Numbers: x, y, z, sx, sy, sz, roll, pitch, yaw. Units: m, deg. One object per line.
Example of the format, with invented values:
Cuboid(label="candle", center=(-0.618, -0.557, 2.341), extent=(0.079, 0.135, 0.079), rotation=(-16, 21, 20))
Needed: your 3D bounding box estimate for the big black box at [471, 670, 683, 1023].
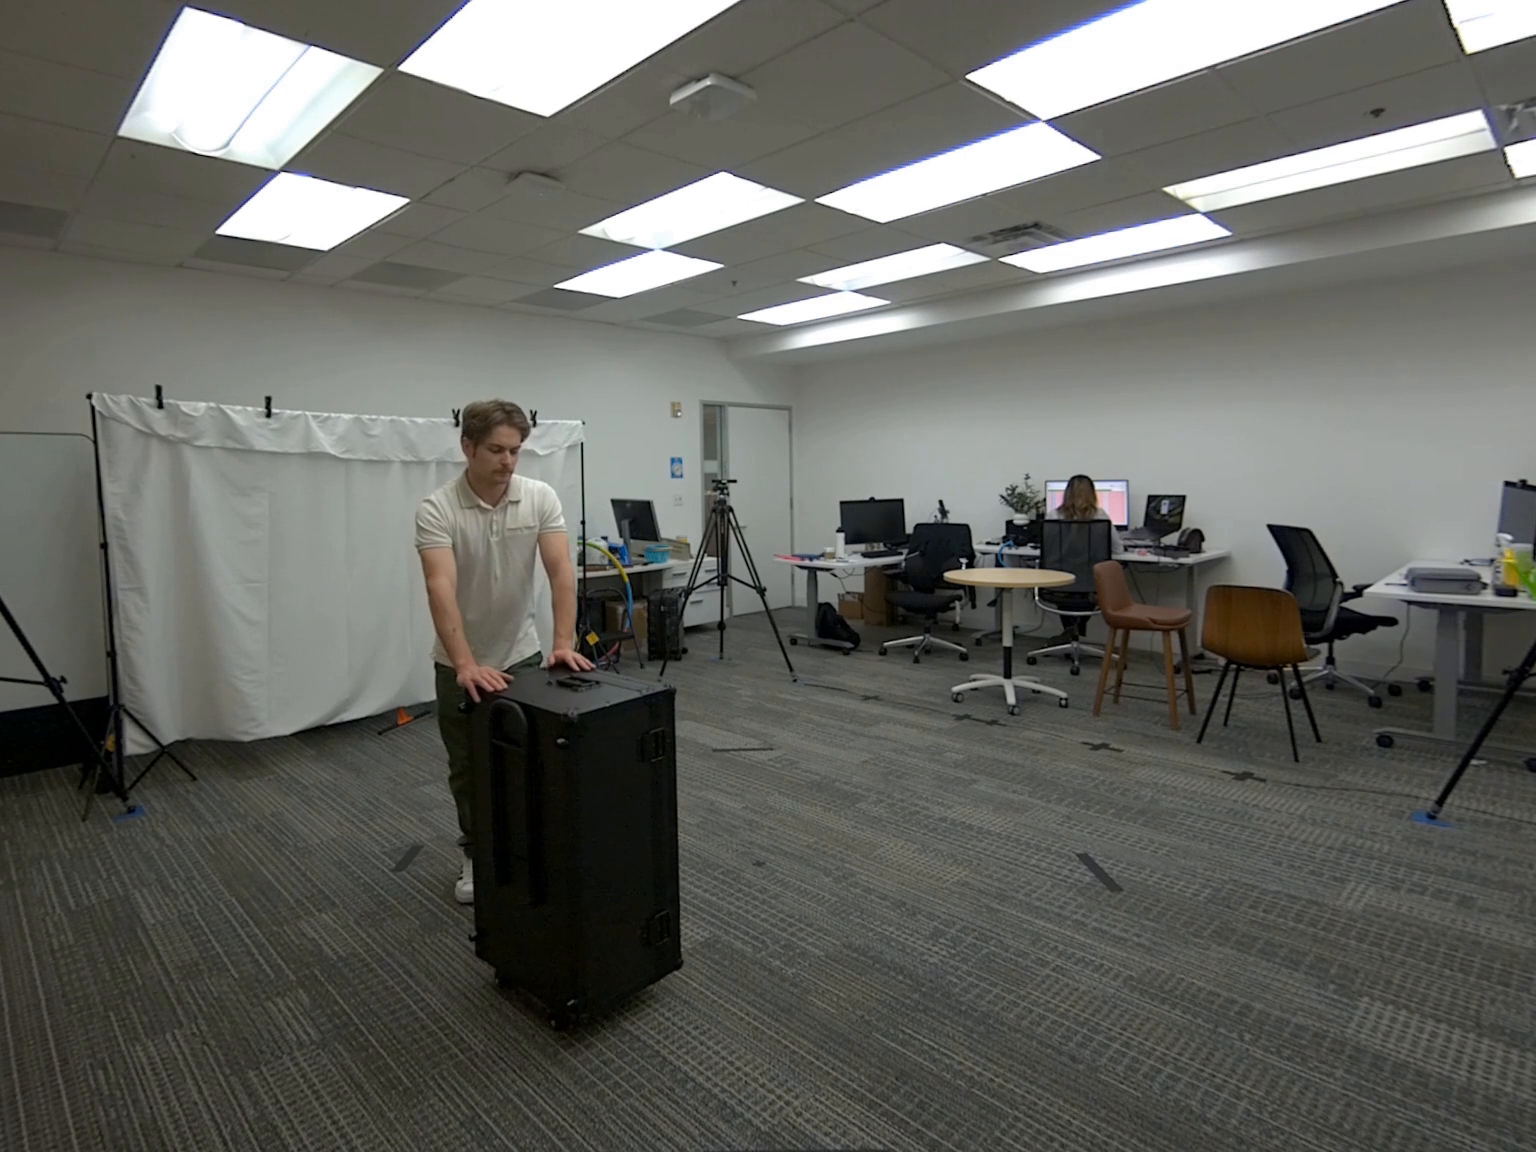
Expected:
Cuboid(label="big black box", center=(-0.531, 0.725, 2.344), extent=(0.539, 0.865, 0.375), rotation=(2, 5, 41))
